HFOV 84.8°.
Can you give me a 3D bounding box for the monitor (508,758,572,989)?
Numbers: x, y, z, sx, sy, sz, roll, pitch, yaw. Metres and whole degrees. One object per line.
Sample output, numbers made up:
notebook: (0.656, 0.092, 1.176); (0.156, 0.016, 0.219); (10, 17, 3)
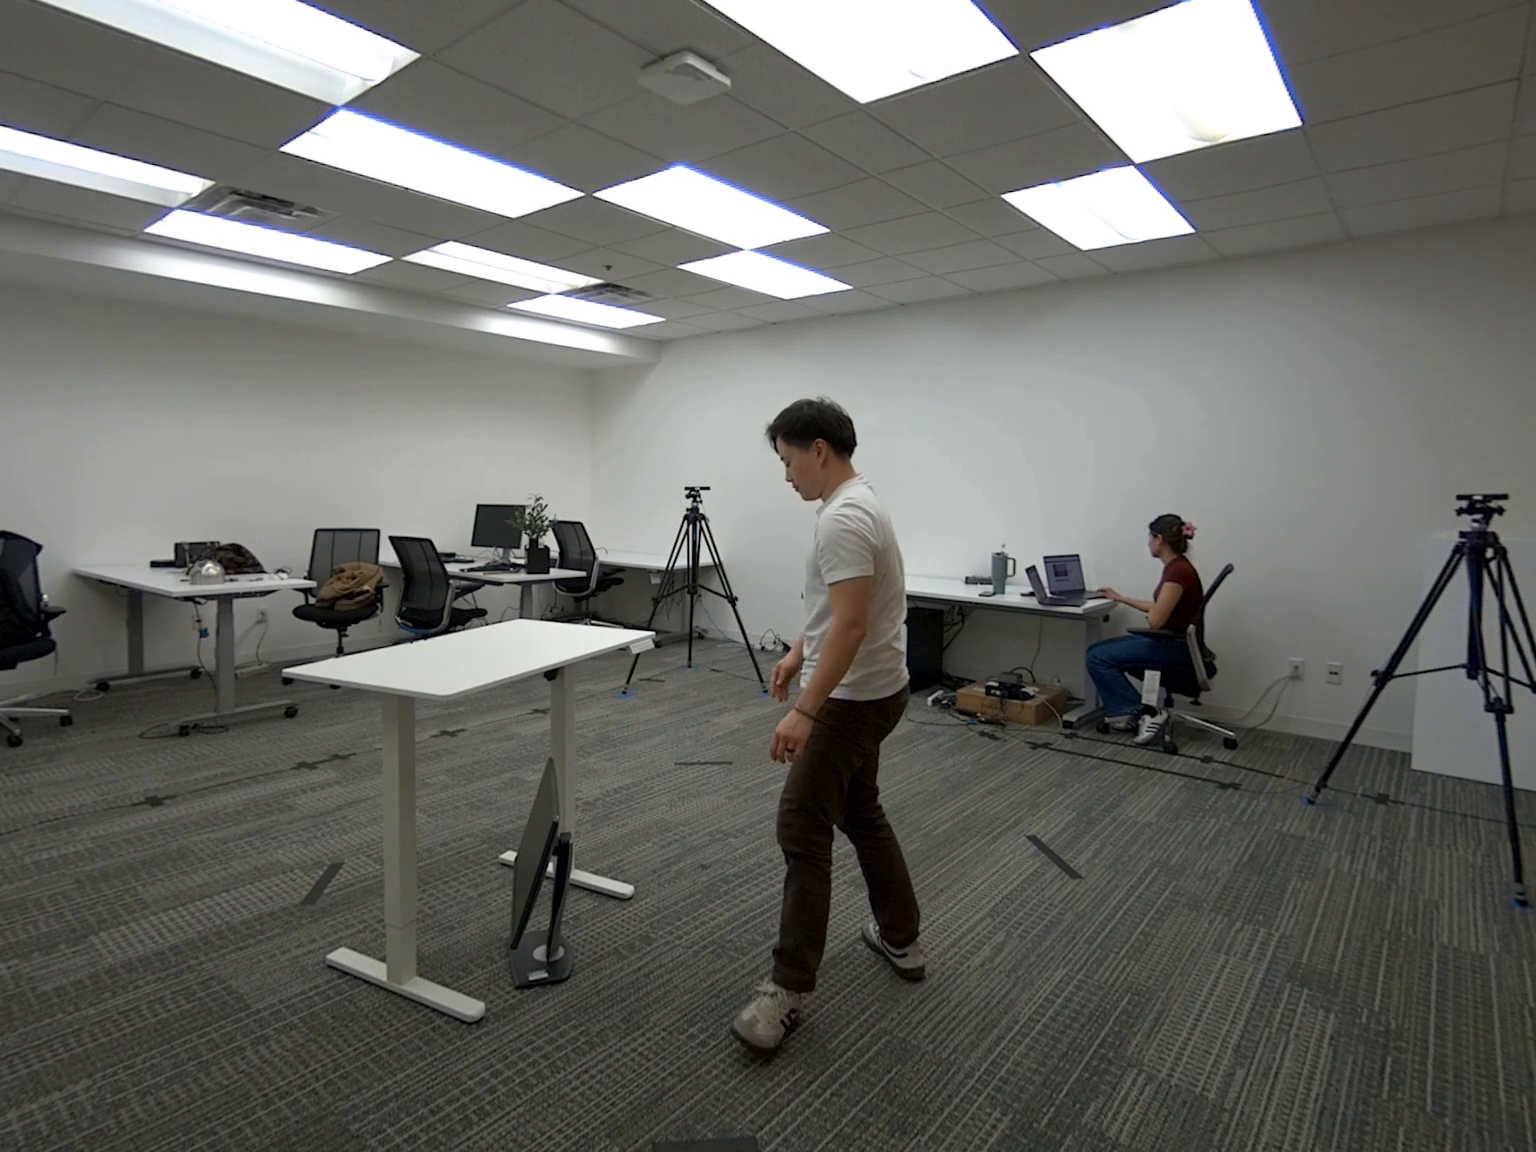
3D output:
monitor: (-0.666, 0.869, 2.485); (0.184, 0.521, 0.550); (2, 3, -18)
